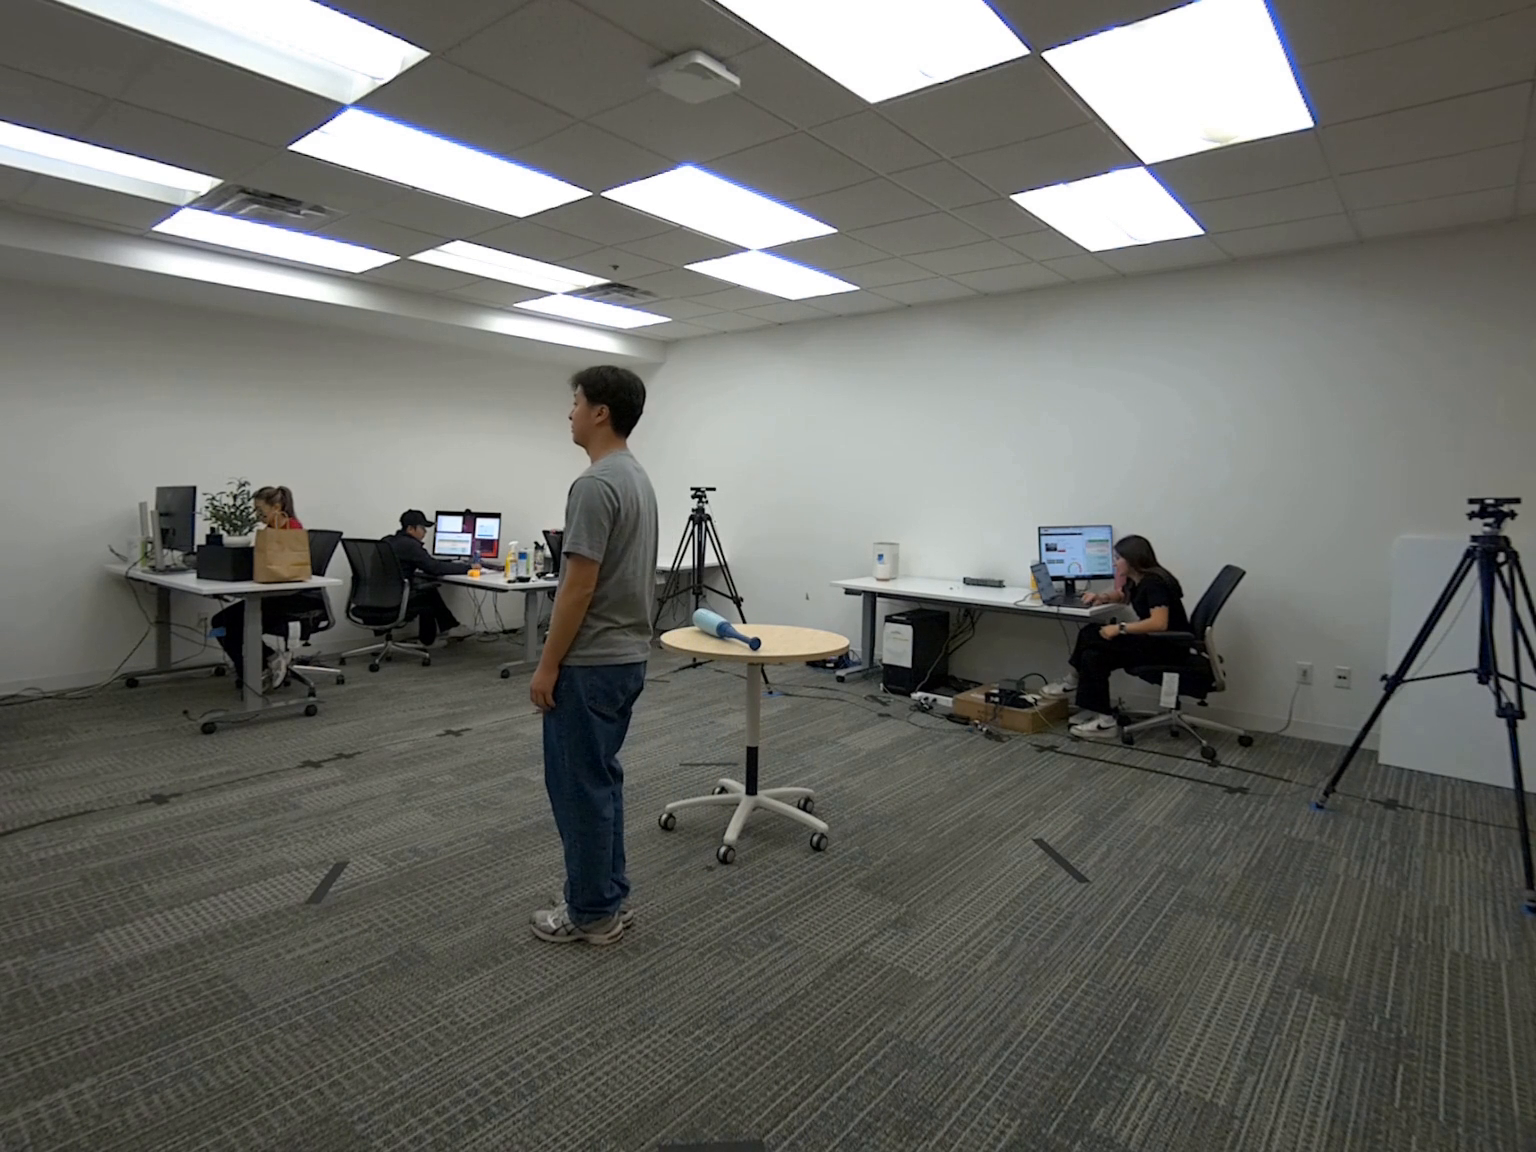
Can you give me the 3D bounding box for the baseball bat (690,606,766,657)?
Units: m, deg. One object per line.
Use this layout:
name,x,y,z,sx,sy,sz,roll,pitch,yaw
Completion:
baseball bat,-0.175,0.216,3.416,0.087,0.088,0.559,-1,8,-26
